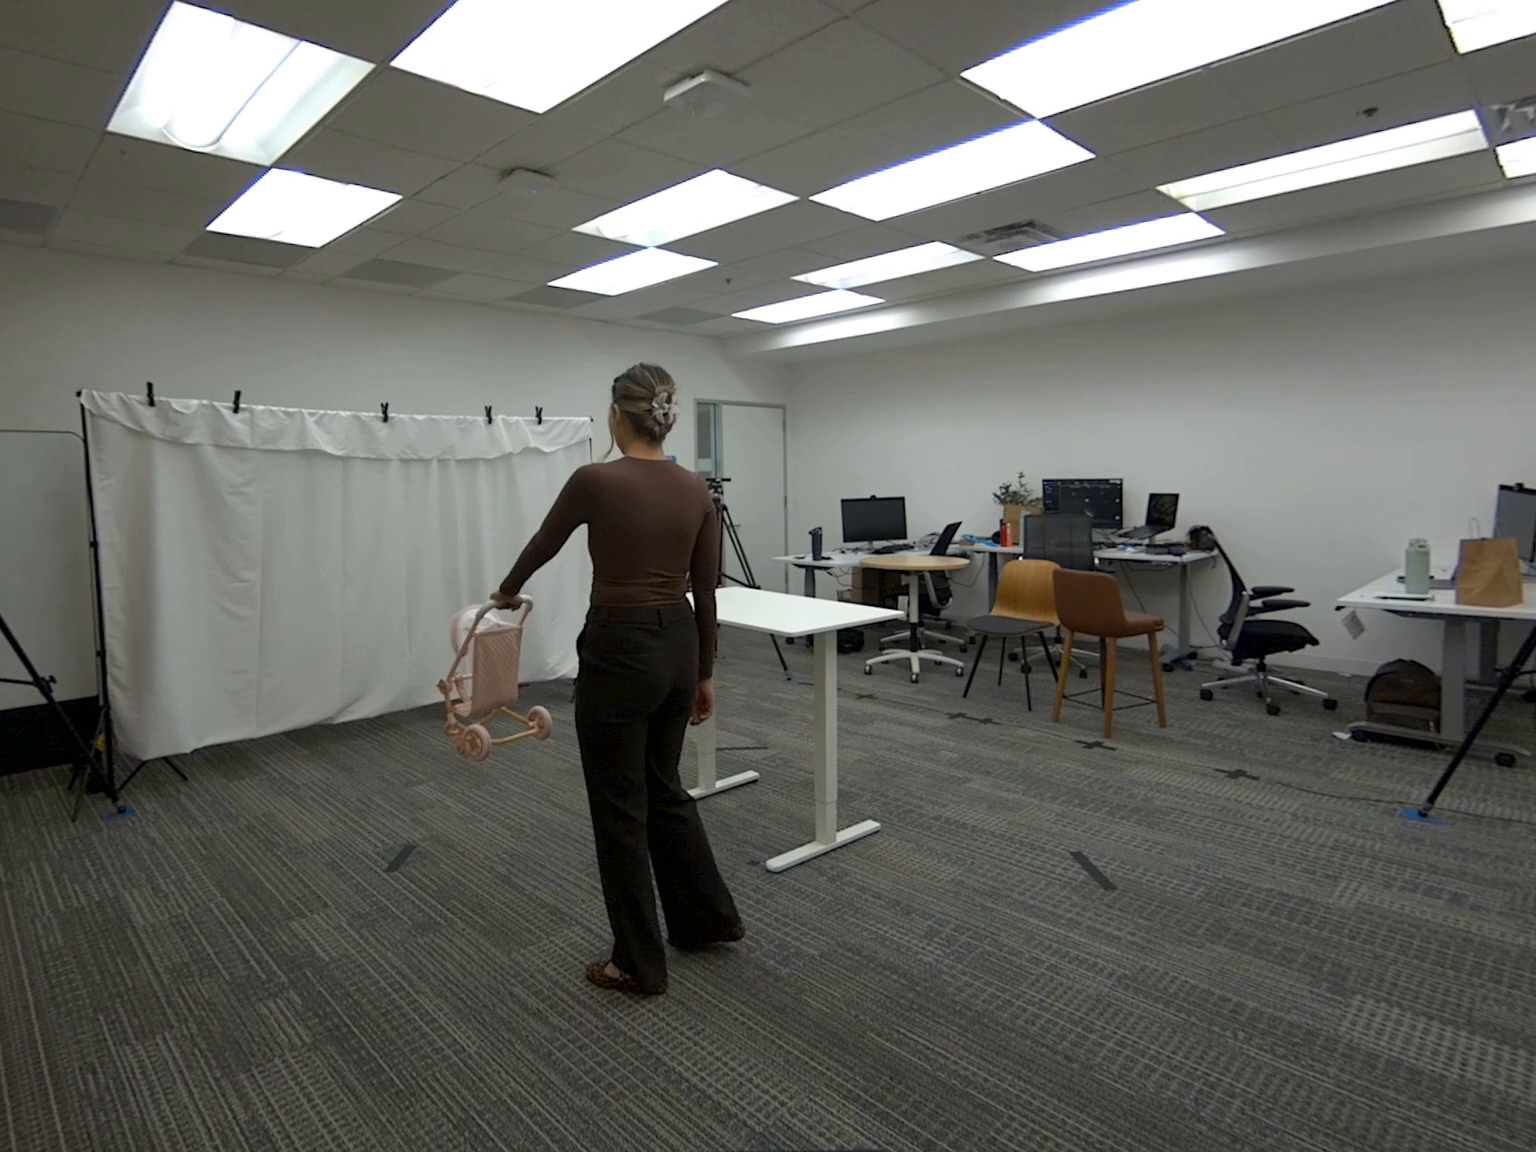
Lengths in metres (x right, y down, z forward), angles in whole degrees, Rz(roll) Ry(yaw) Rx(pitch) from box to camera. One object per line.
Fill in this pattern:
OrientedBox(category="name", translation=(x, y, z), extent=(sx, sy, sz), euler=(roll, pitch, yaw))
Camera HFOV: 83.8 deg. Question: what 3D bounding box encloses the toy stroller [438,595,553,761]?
OrientedBox(category="toy stroller", translation=(-0.897, 0.336, 2.721), extent=(0.351, 0.534, 0.274), euler=(-1, 4, 39))
